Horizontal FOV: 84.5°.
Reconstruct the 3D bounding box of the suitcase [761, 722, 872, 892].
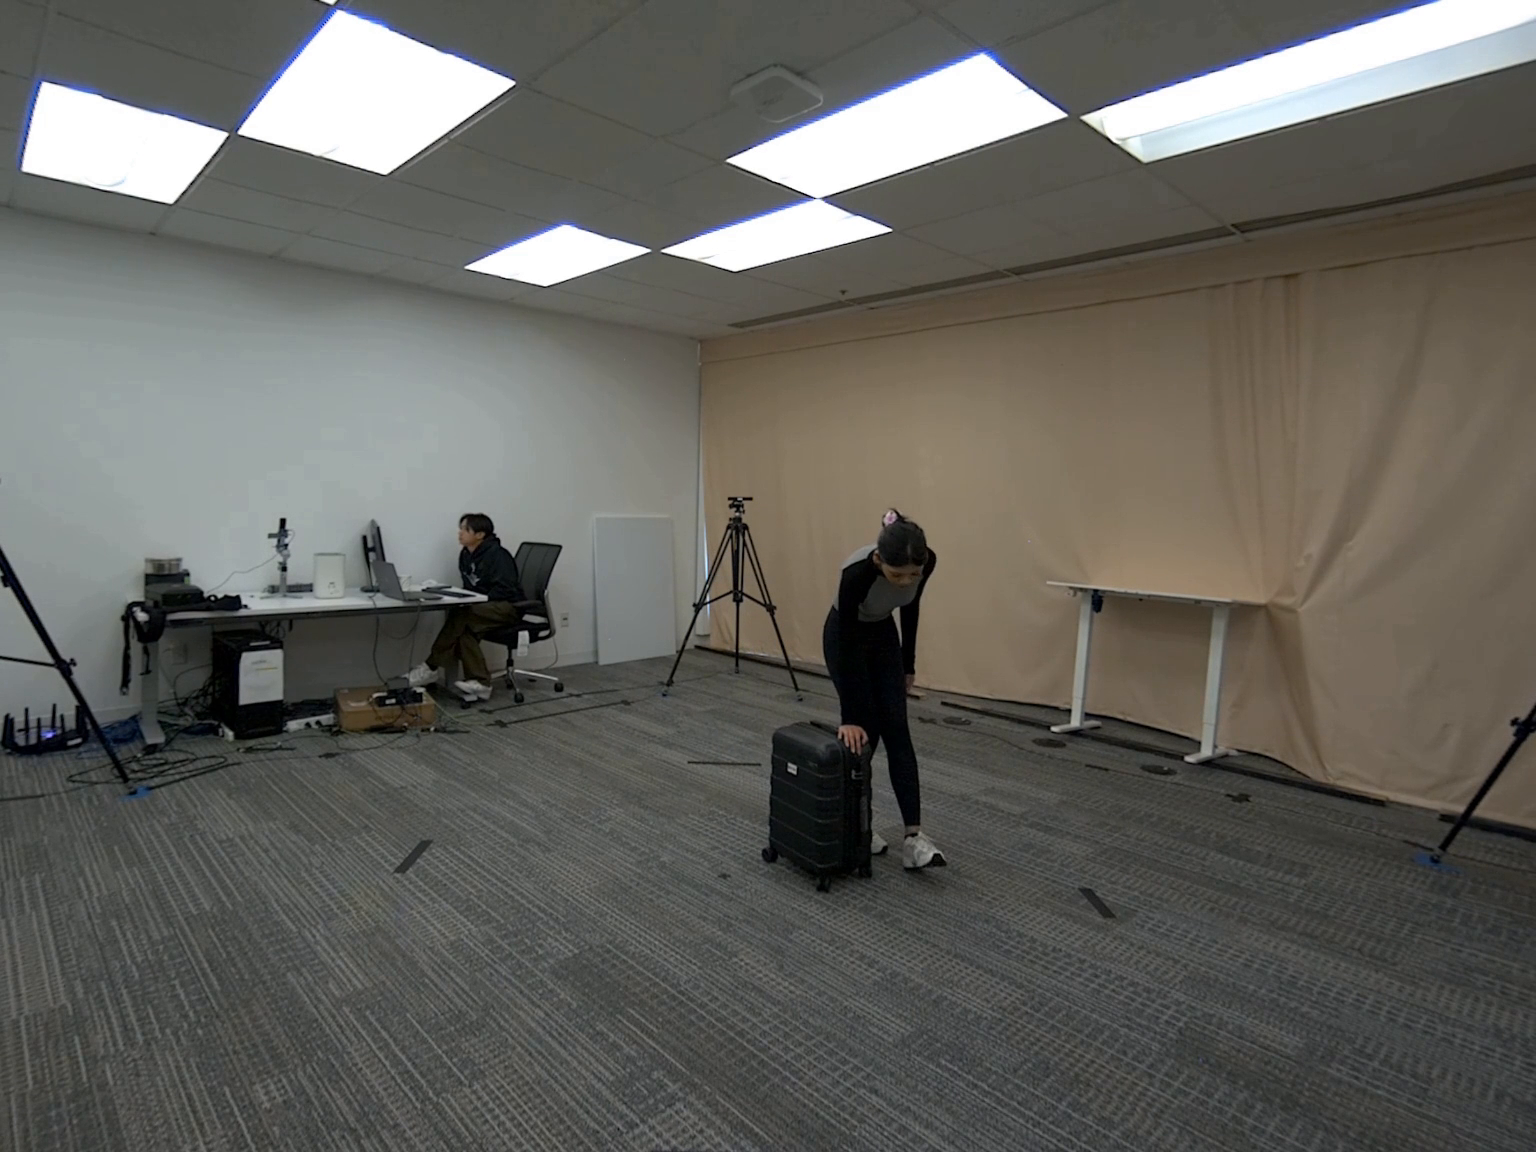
[{"bbox_3d":[0.186,0.836,3.142,0.243,0.547,0.385,-2,6,-35],"label":"suitcase"}]
